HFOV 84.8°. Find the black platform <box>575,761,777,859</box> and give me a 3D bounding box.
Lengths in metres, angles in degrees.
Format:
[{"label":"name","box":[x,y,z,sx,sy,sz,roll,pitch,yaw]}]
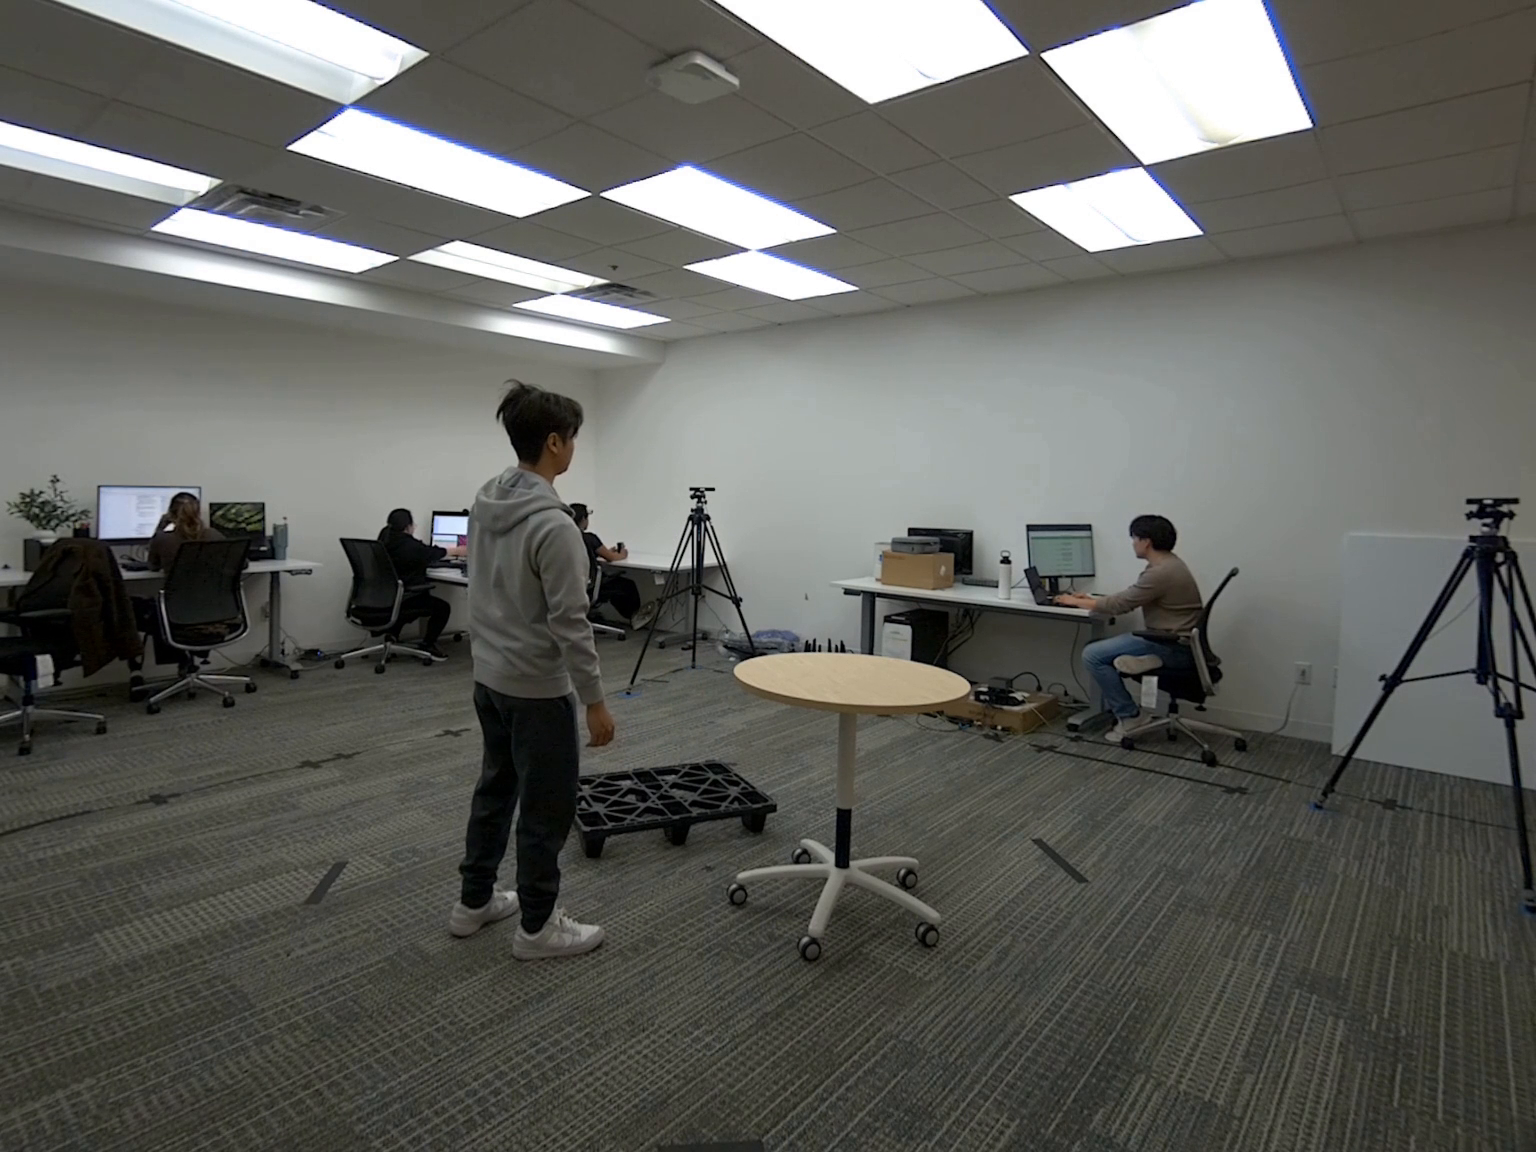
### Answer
[{"label":"black platform","box":[-0.452,0.954,3.528,0.787,0.143,0.622,-2,7,-24]}]
